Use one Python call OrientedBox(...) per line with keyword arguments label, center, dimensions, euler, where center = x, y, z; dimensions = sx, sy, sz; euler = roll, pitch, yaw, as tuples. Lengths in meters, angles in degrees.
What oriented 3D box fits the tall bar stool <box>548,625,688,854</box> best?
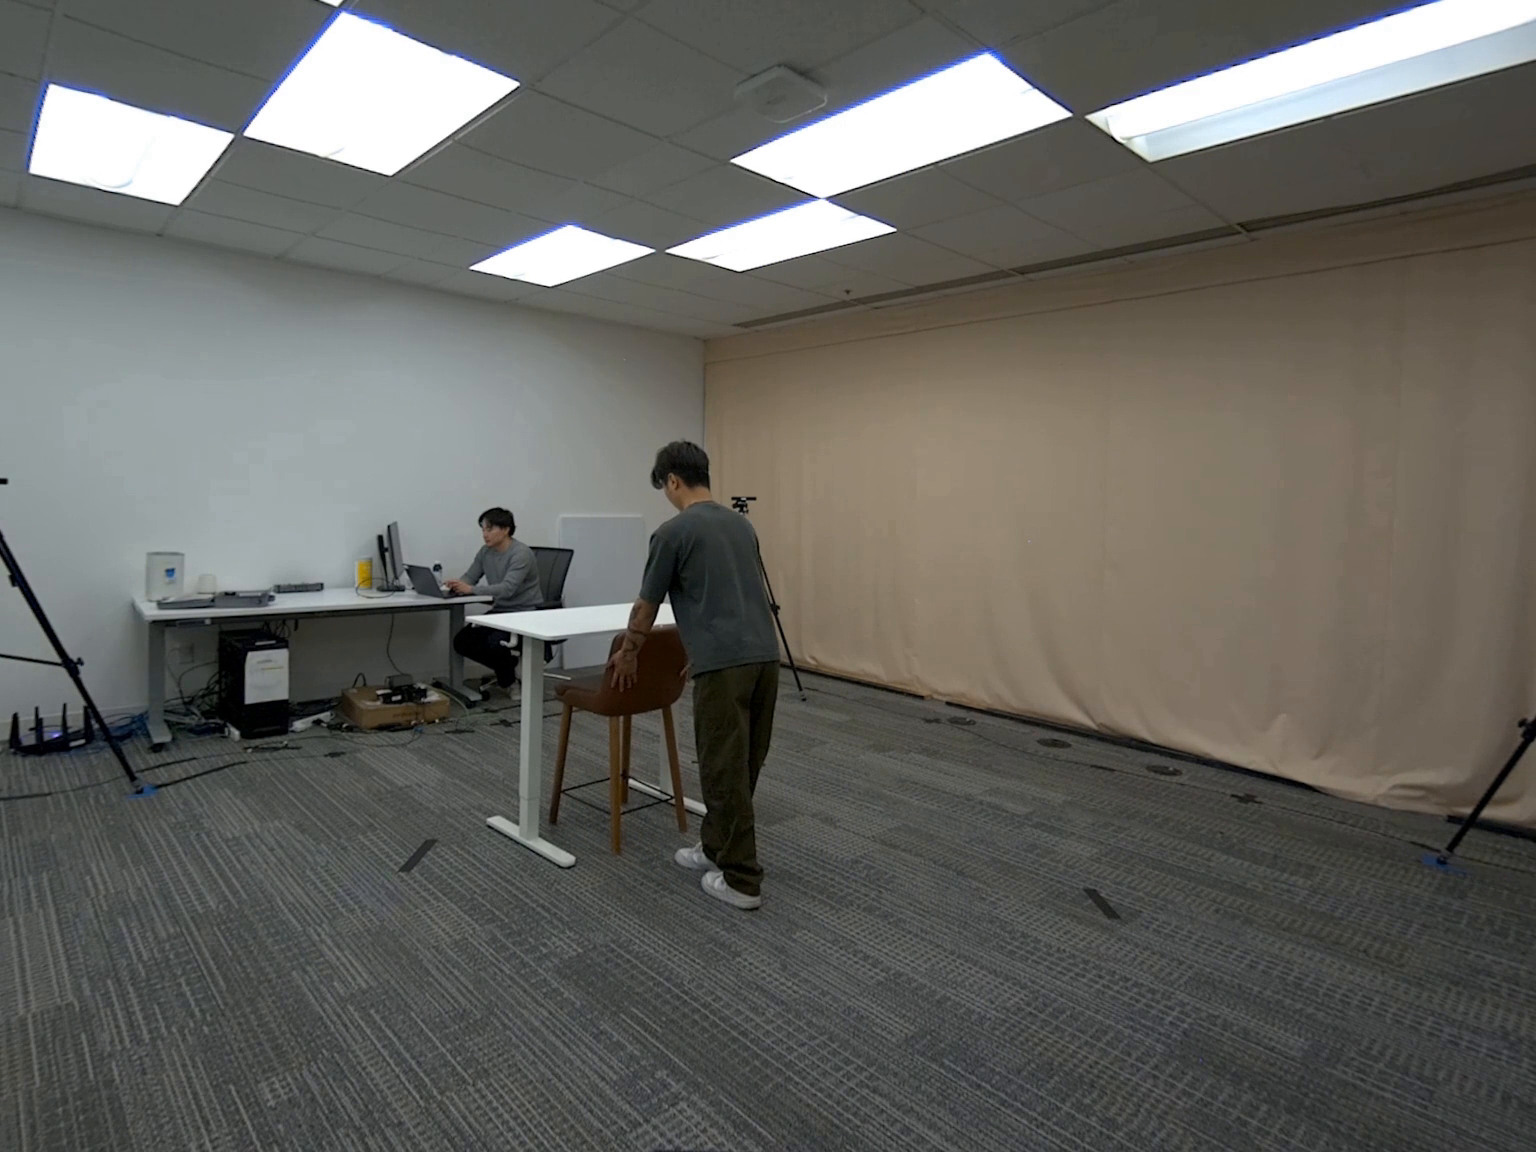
OrientedBox(label="tall bar stool", center=(-0.615, 0.624, 3.512), dimensions=(0.480, 0.886, 0.446), euler=(8, 7, 43))
